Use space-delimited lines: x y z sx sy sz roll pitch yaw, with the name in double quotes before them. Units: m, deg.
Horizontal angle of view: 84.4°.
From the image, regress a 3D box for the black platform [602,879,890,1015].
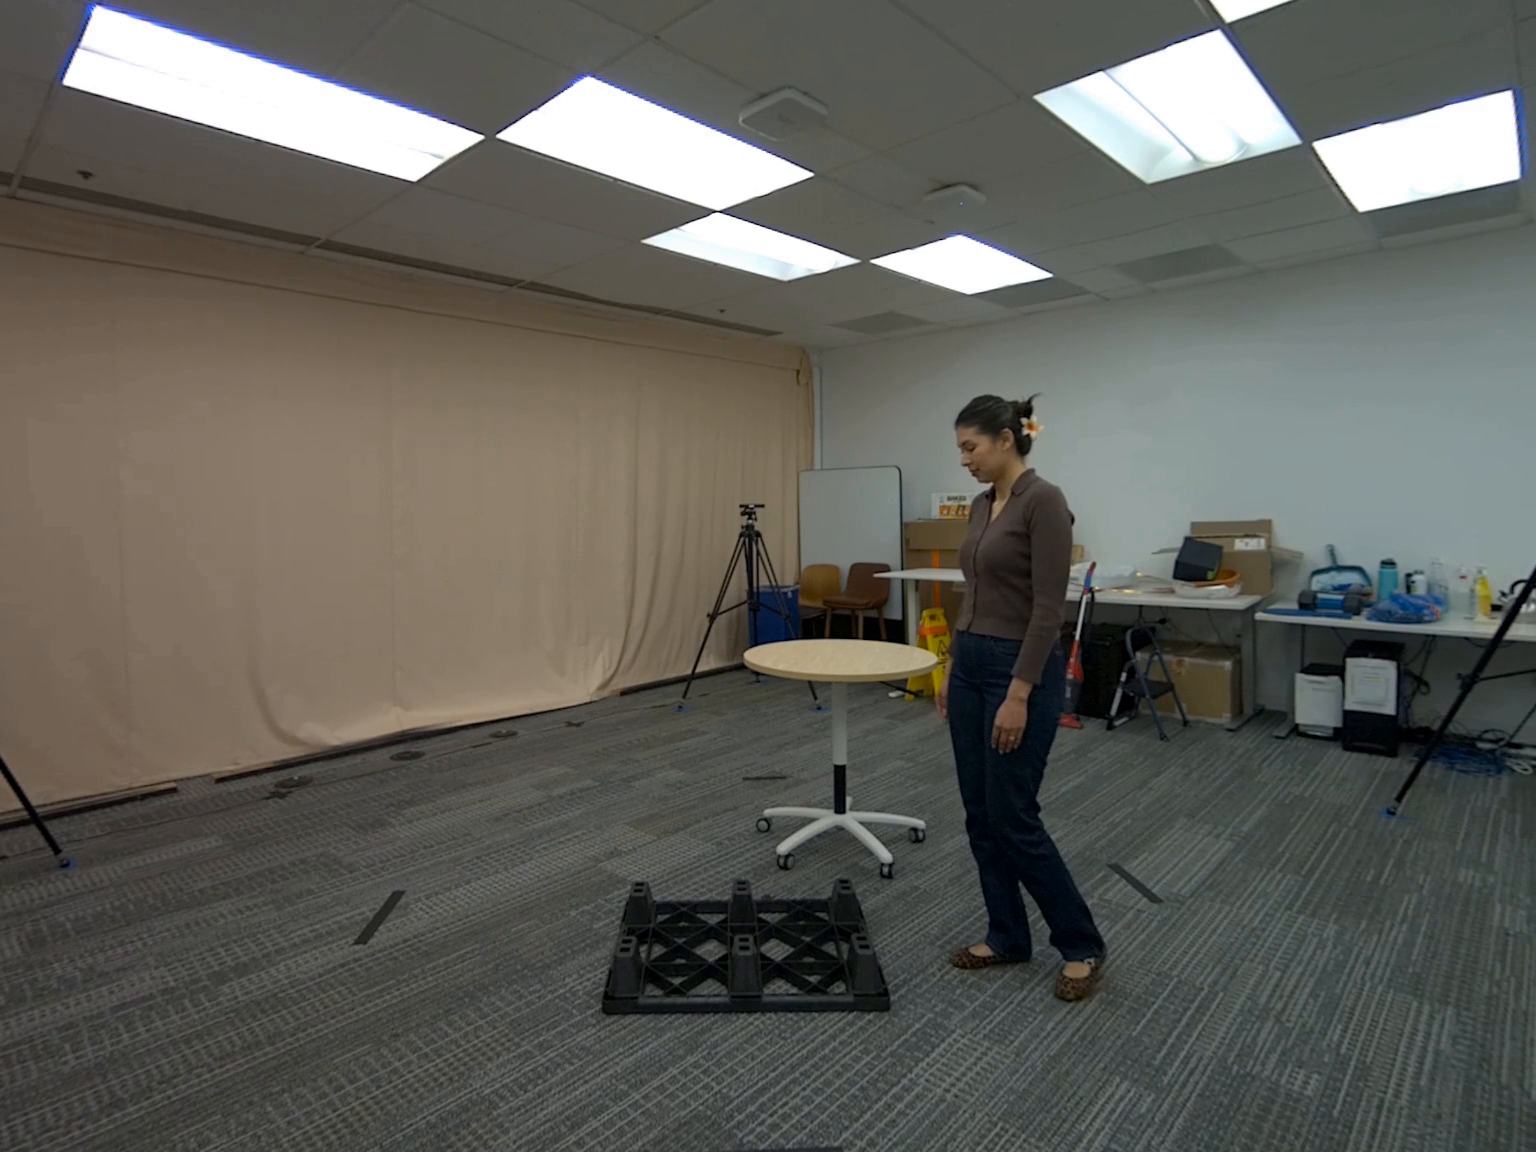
"black platform" -0.078 1.108 2.595 0.805 0.143 0.607 -1 4 -1
